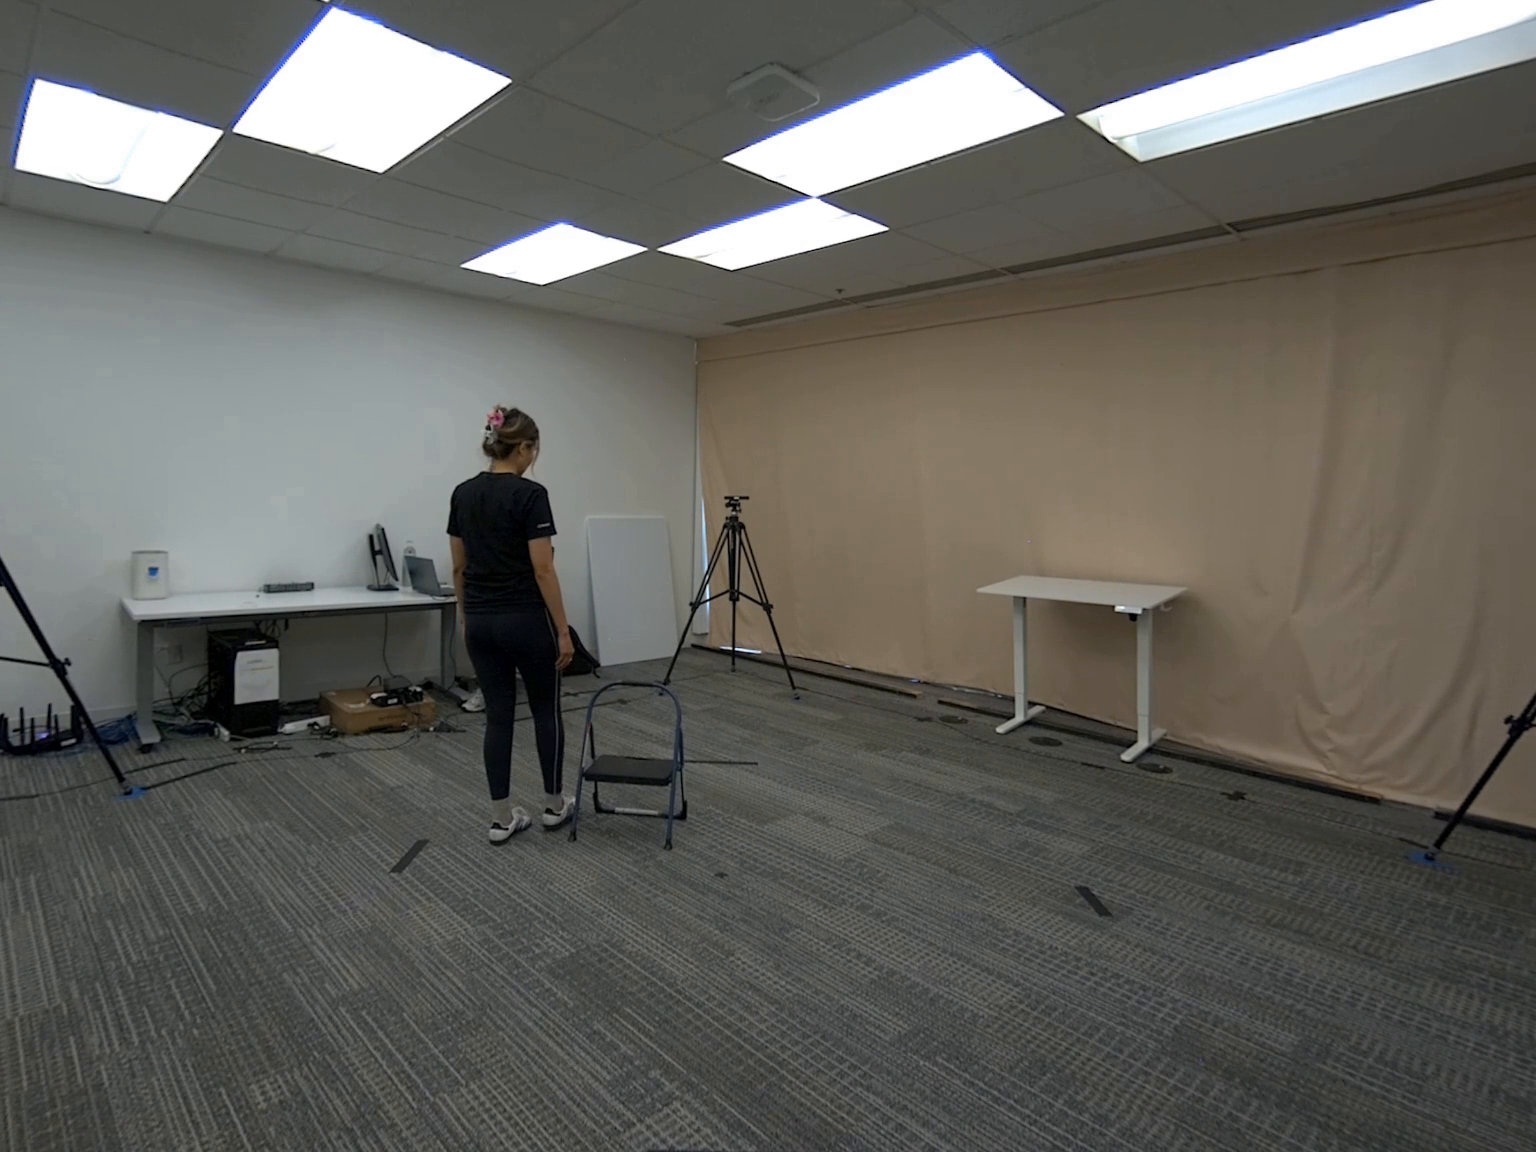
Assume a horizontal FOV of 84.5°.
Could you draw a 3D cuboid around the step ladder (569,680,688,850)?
[{"bbox_3d":[-0.572,0.763,3.501,0.433,0.604,0.348,2,4,7],"label":"step ladder"}]
